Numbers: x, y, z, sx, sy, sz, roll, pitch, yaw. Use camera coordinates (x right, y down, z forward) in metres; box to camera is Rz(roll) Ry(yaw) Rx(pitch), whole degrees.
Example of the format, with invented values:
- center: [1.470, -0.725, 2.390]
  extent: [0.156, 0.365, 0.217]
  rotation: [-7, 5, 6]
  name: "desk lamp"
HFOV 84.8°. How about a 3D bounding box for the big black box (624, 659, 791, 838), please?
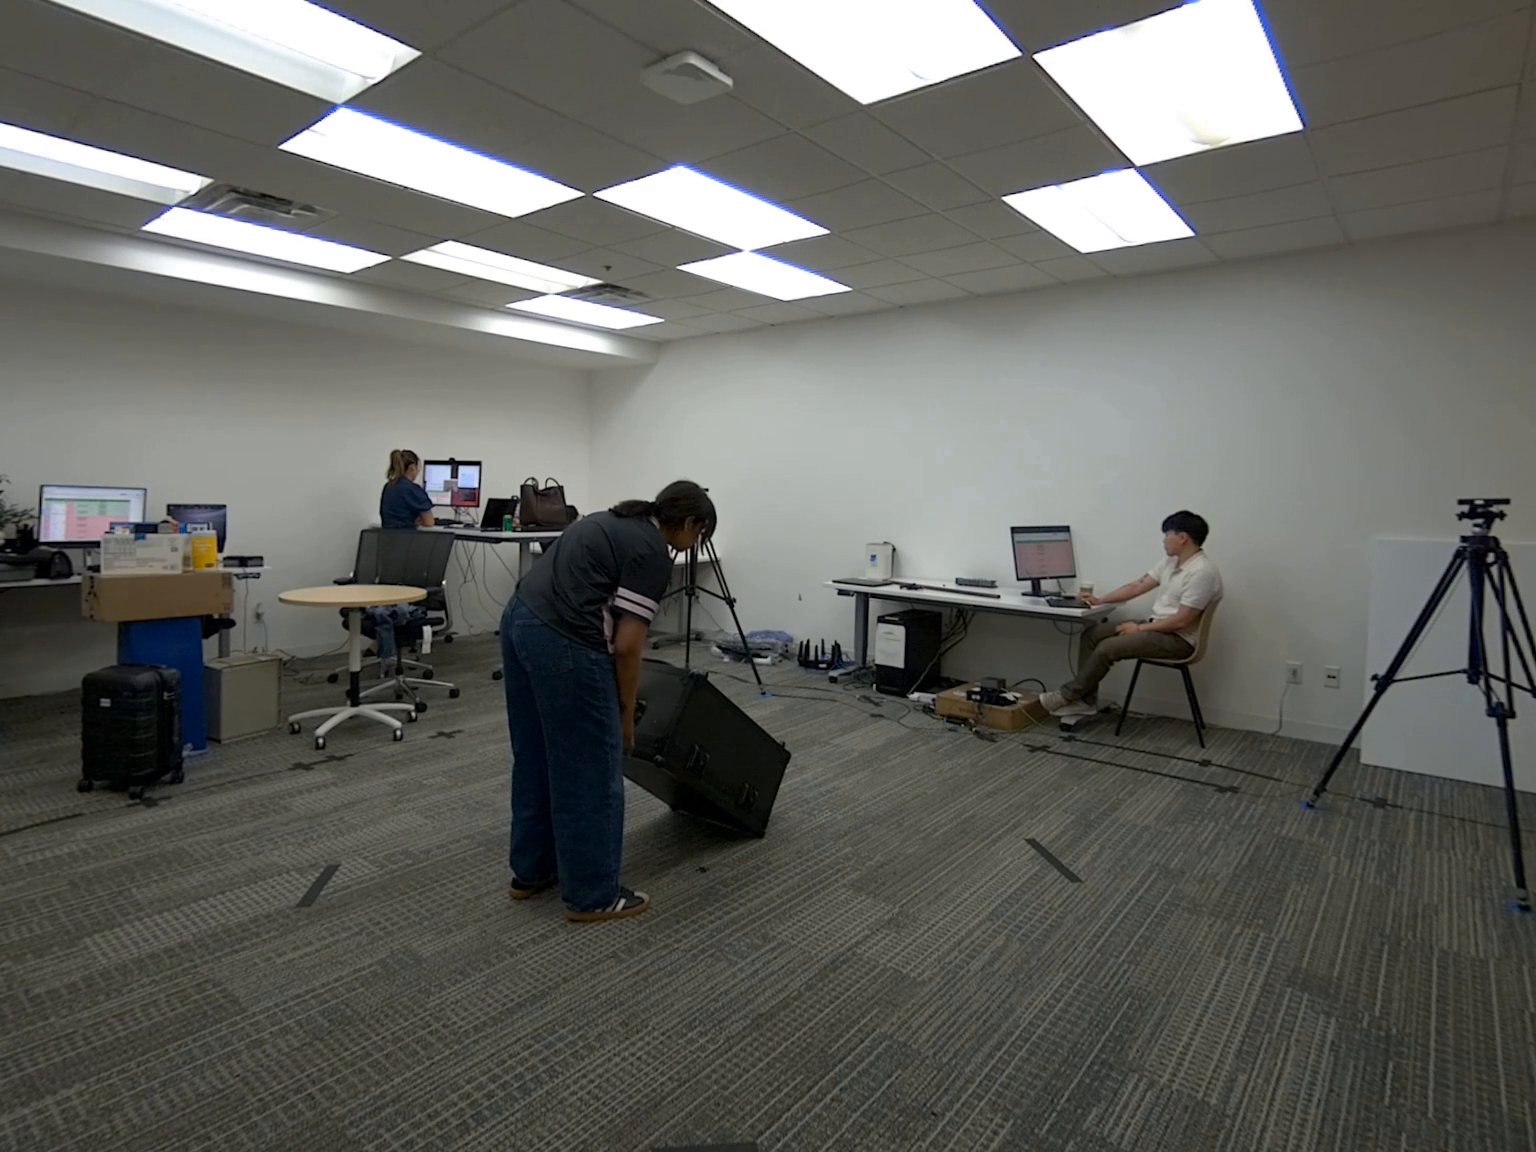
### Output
- center: [-0.332, 0.685, 3.388]
  extent: [0.540, 0.389, 0.832]
  rotation: [3, -31, 36]
  name: "big black box"
